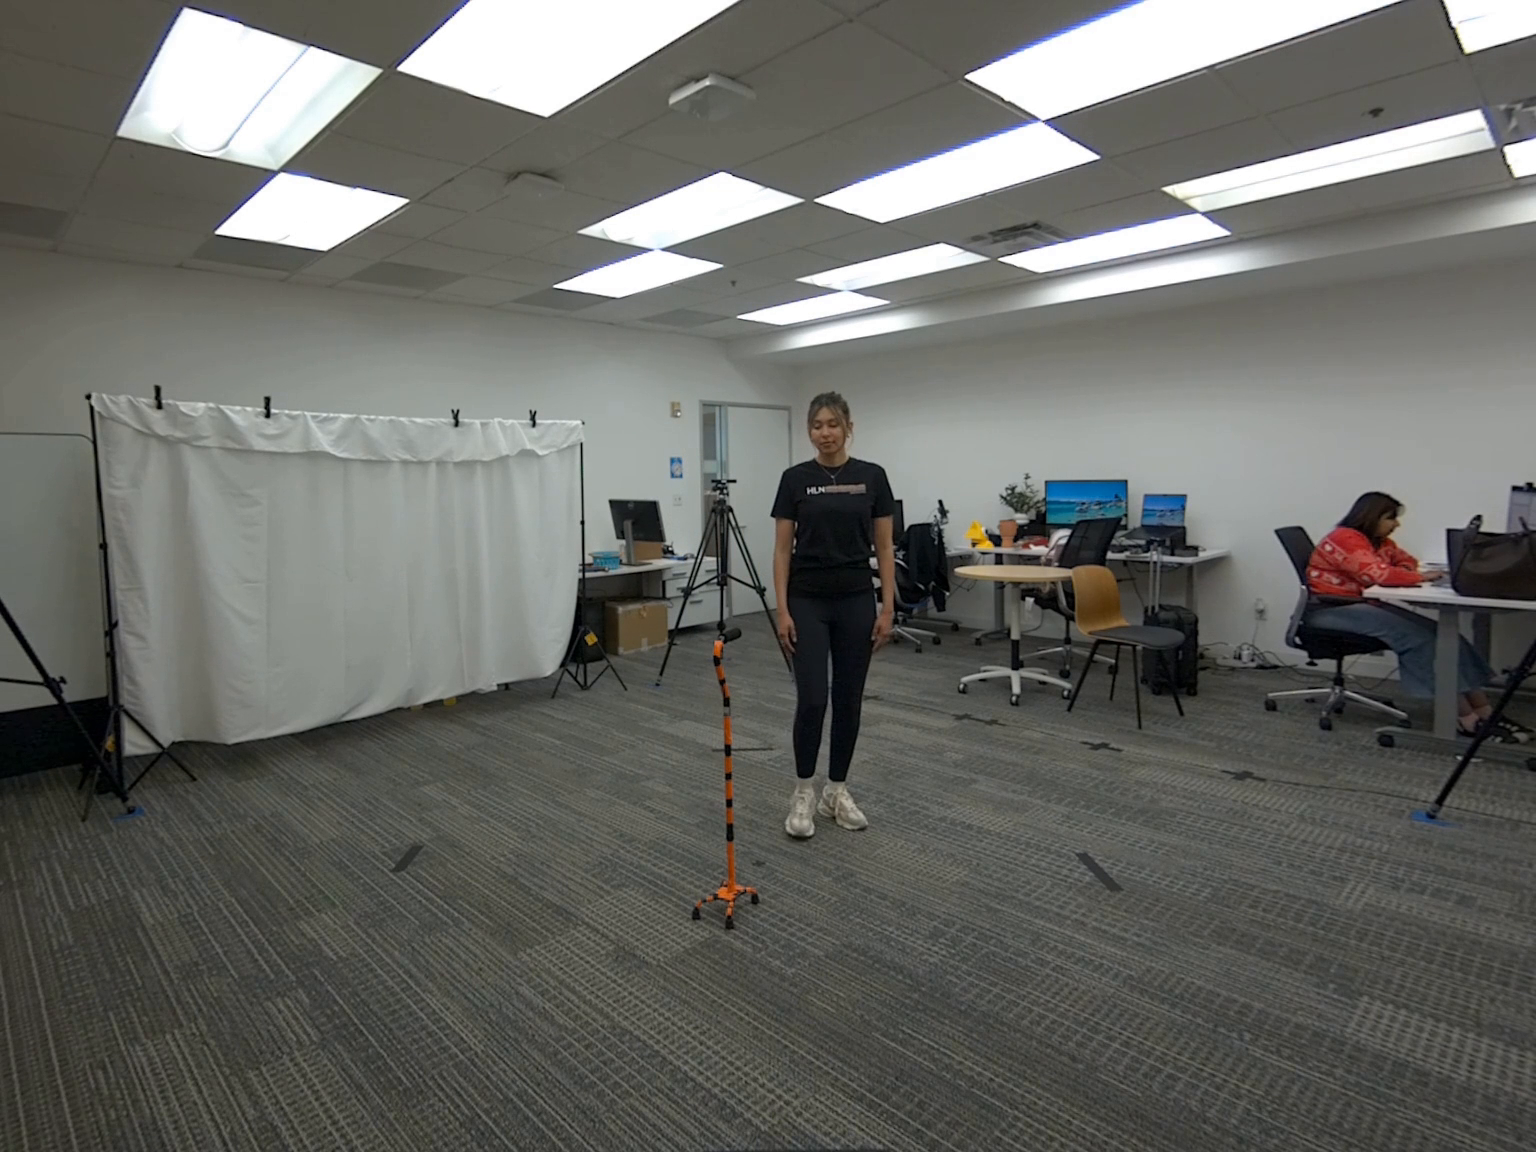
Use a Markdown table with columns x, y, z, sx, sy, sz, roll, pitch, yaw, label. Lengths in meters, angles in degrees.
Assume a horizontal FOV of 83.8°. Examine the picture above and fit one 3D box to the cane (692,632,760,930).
| x | y | z | sx | sy | sz | roll | pitch | yaw | label |
| --- | --- | --- | --- | --- | --- | --- | --- | --- | --- |
| -0.140 | 0.634 | 2.748 | 0.155 | 0.904 | 0.202 | 1 | 4 | 24 | cane |
